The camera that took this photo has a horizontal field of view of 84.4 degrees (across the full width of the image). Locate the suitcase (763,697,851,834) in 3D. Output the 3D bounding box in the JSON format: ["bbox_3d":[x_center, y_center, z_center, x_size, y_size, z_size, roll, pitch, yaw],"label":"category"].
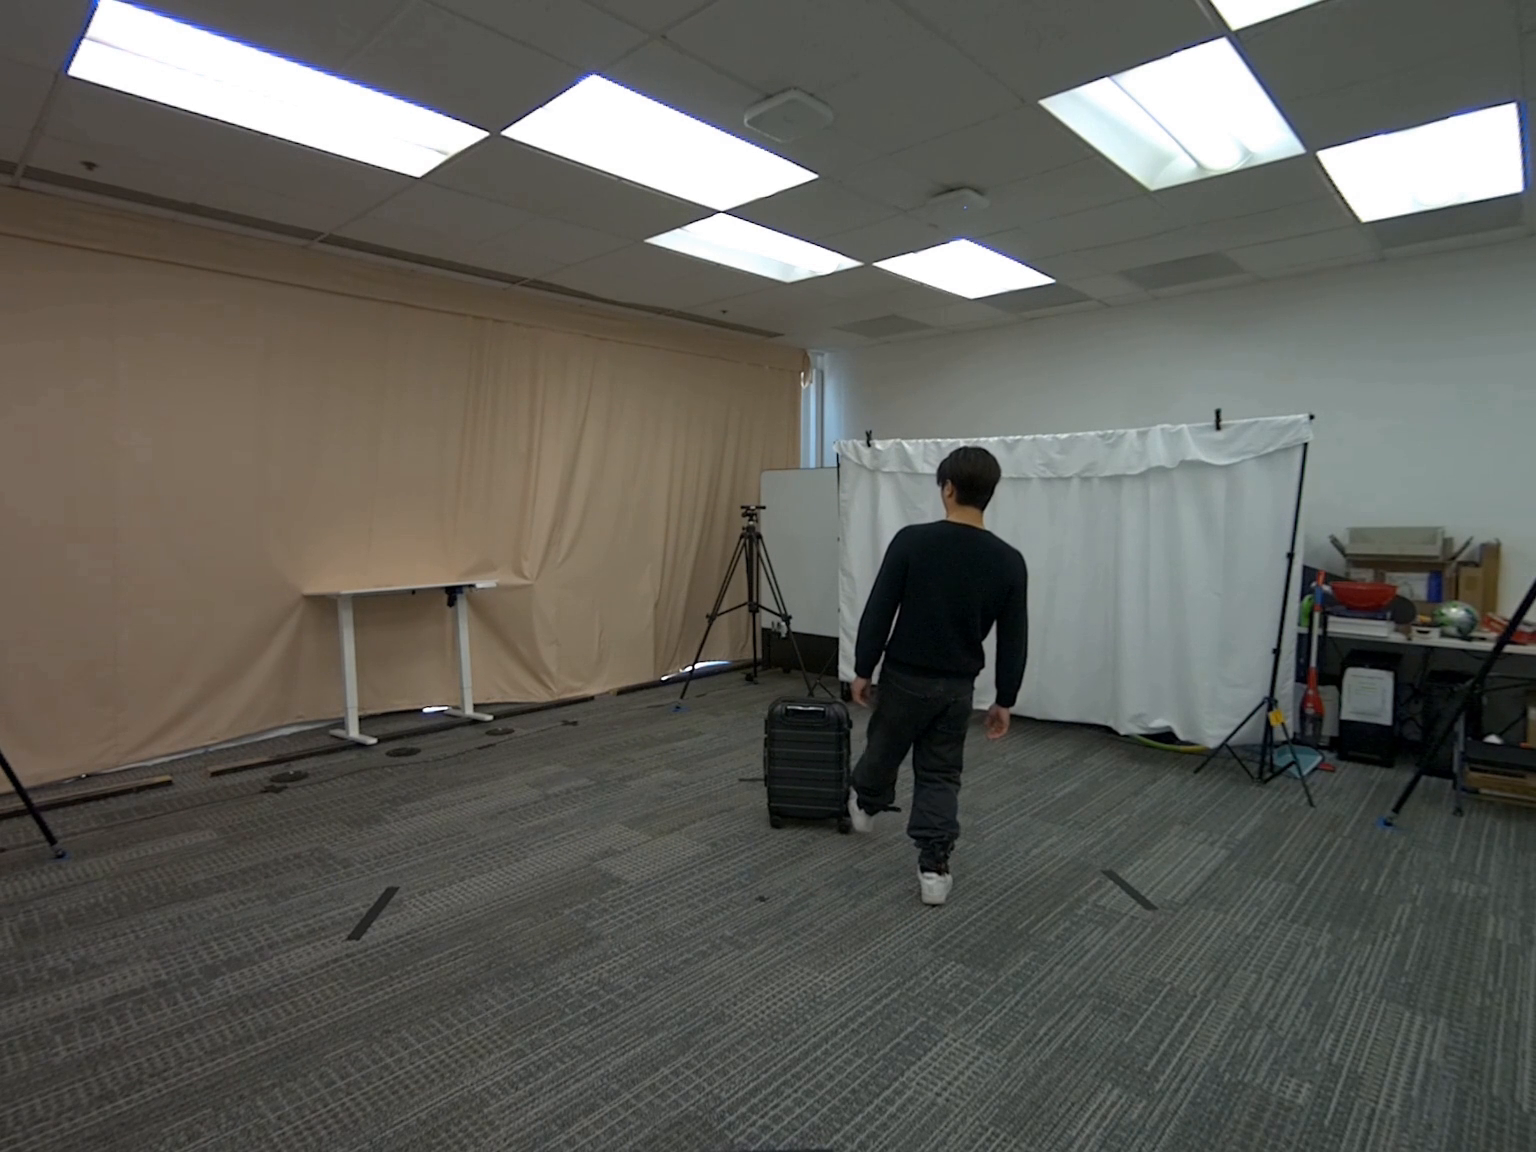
[{"bbox_3d":[0.178,0.805,3.714,0.380,0.548,0.246,0,2,10],"label":"suitcase"}]
